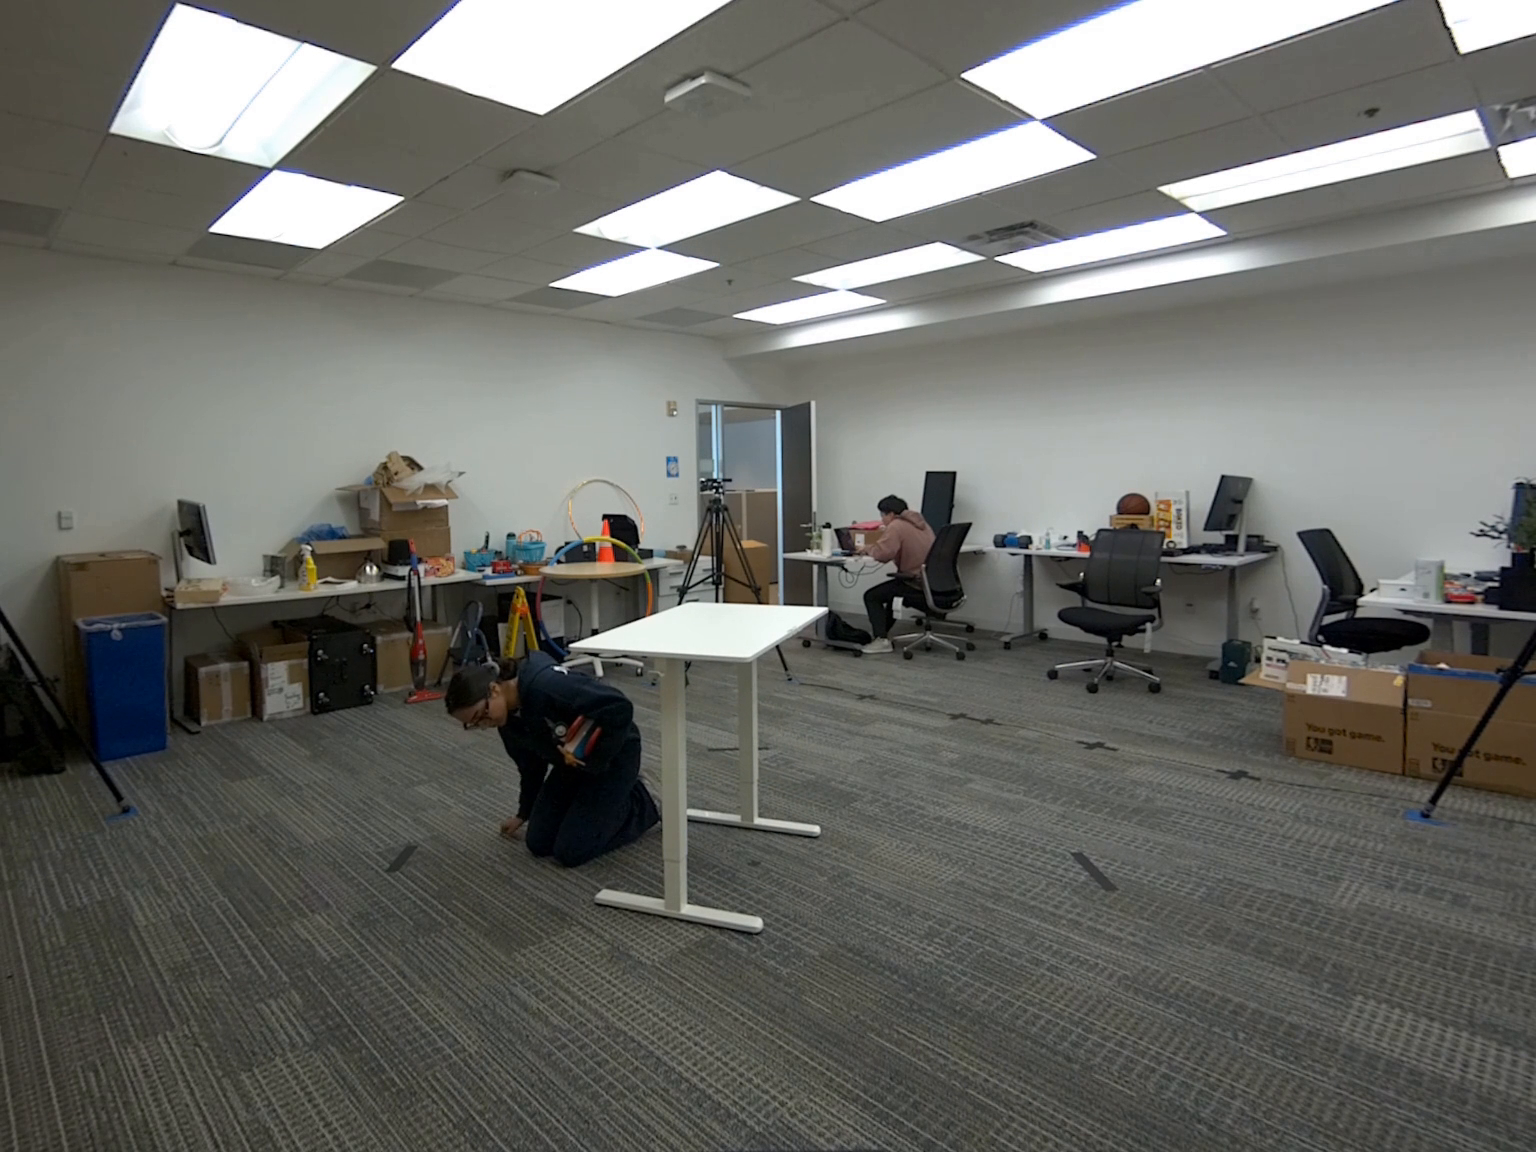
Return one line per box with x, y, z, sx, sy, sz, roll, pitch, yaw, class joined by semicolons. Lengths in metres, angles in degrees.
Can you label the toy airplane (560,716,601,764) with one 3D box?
-0.651;0.537;3.044;0.159;0.259;0.247;45;1;12;toy airplane
